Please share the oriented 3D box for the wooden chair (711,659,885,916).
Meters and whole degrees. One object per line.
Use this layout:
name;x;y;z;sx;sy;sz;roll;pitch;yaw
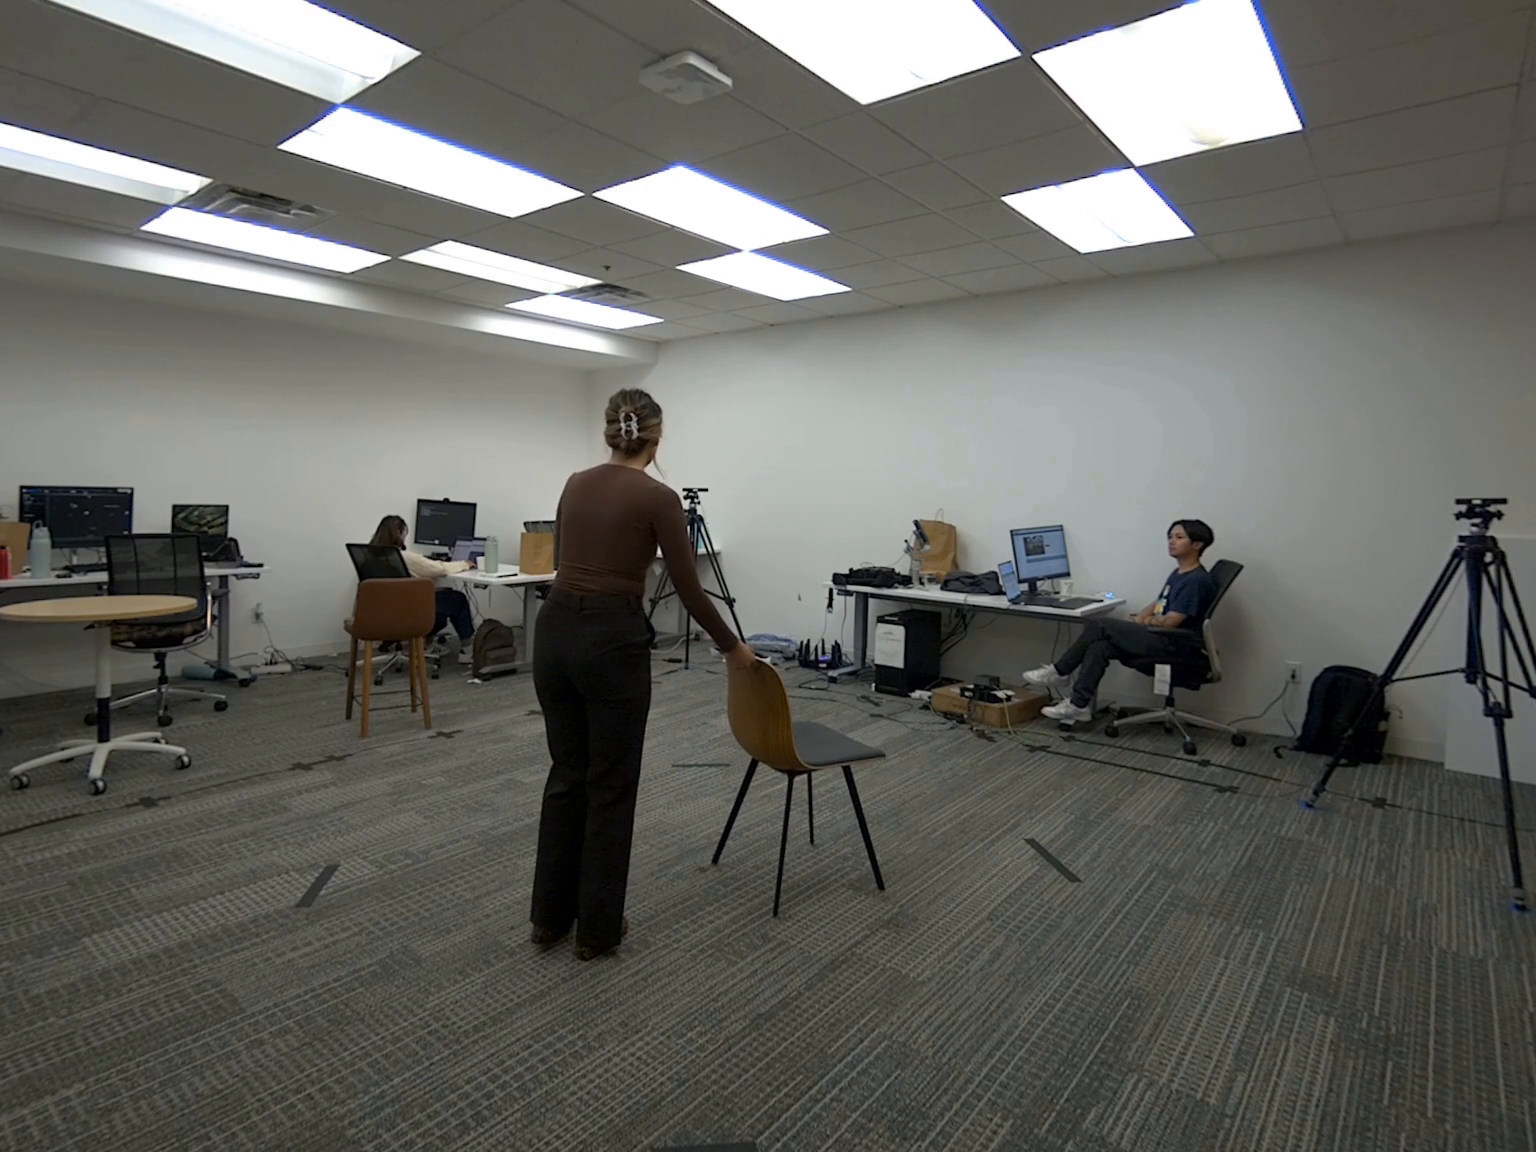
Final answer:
wooden chair;0.109;0.655;3.045;0.510;0.873;0.492;-5;6;-30
